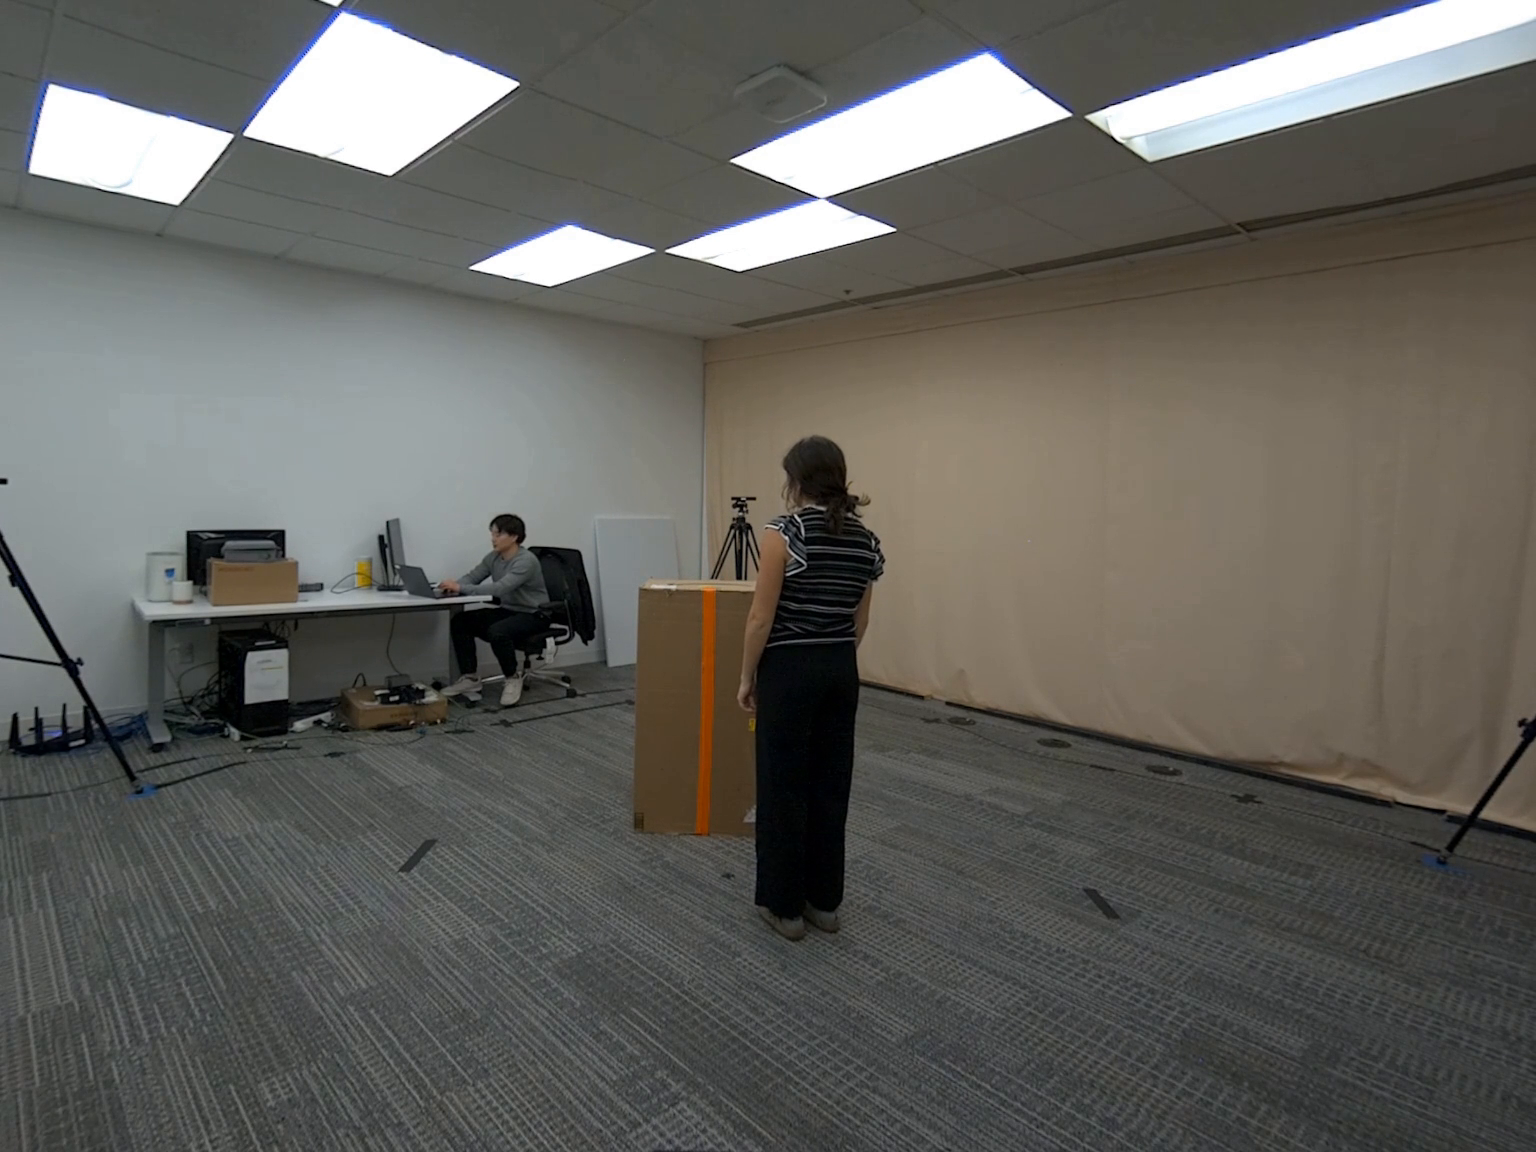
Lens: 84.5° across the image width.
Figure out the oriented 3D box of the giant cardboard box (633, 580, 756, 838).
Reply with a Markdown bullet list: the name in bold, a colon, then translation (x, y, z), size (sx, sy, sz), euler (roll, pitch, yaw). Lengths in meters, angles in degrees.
- **giant cardboard box**: translation (-0.276, 0.546, 3.663), size (0.578, 1.024, 0.427), euler (2, 3, 0)
